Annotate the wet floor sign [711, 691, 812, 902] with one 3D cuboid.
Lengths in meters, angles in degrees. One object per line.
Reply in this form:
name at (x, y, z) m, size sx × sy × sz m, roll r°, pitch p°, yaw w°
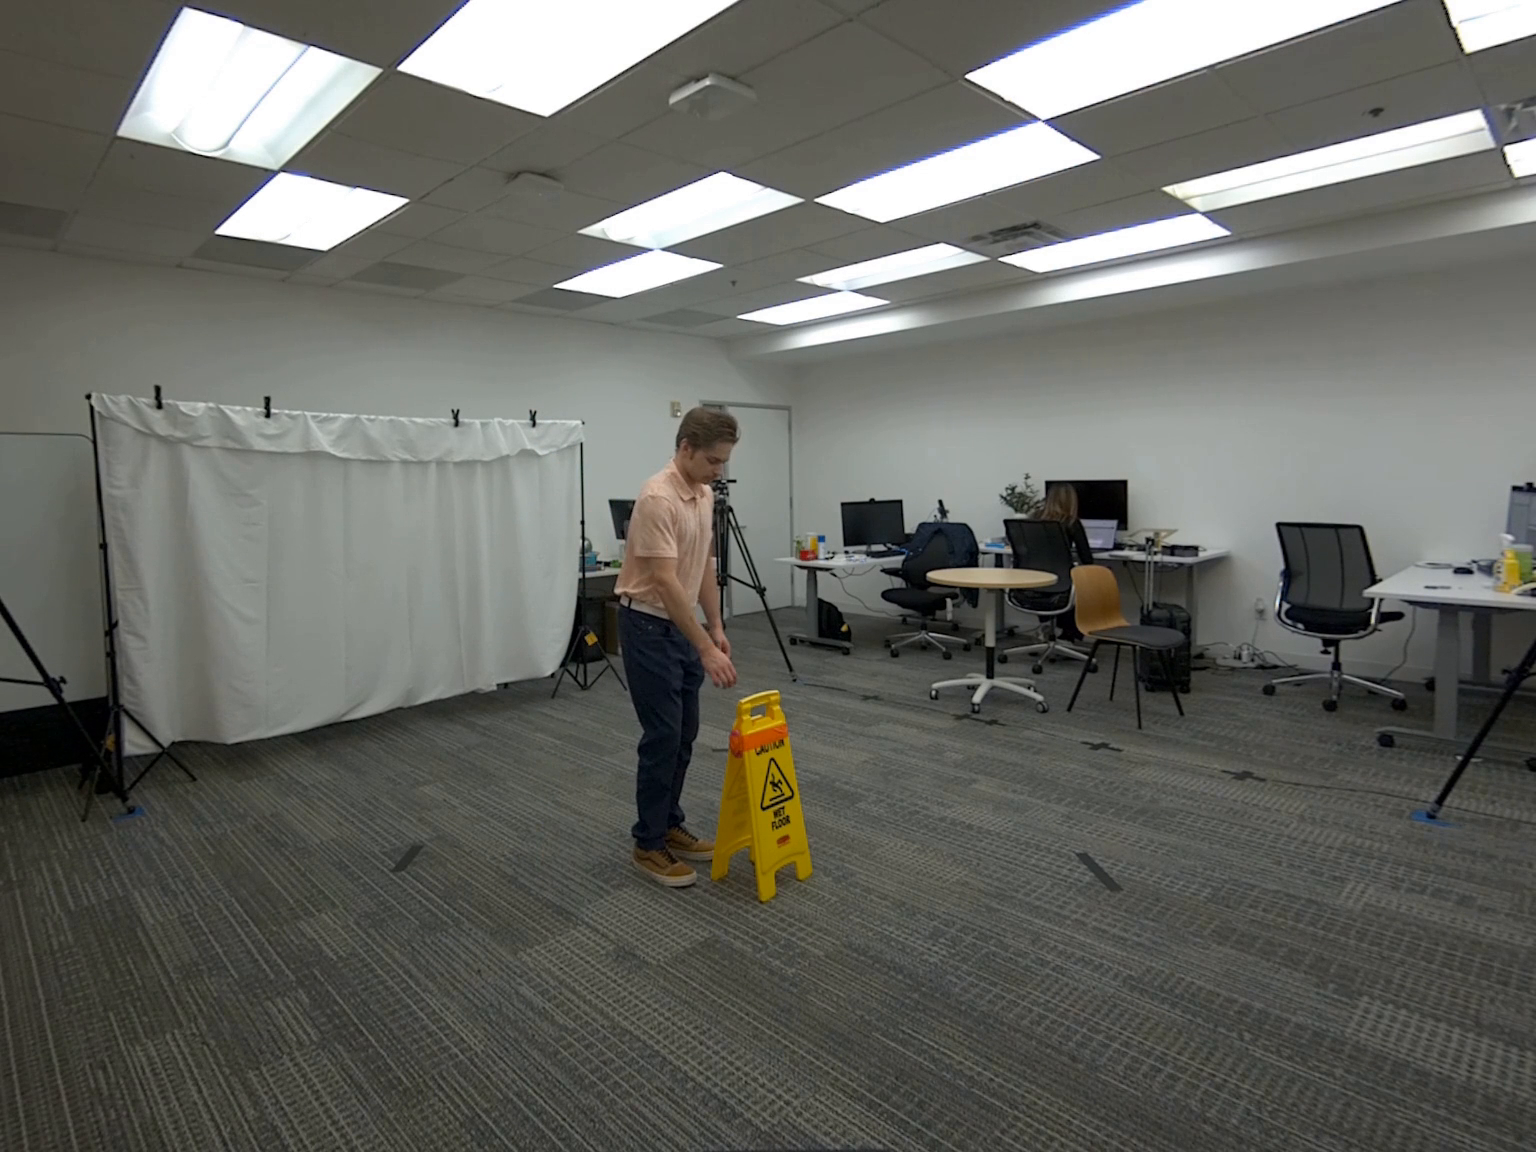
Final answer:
wet floor sign at (-0.023, 0.734, 2.979) m, size 0.299 × 0.643 × 0.275 m, roll 4°, pitch 7°, yaw 43°
